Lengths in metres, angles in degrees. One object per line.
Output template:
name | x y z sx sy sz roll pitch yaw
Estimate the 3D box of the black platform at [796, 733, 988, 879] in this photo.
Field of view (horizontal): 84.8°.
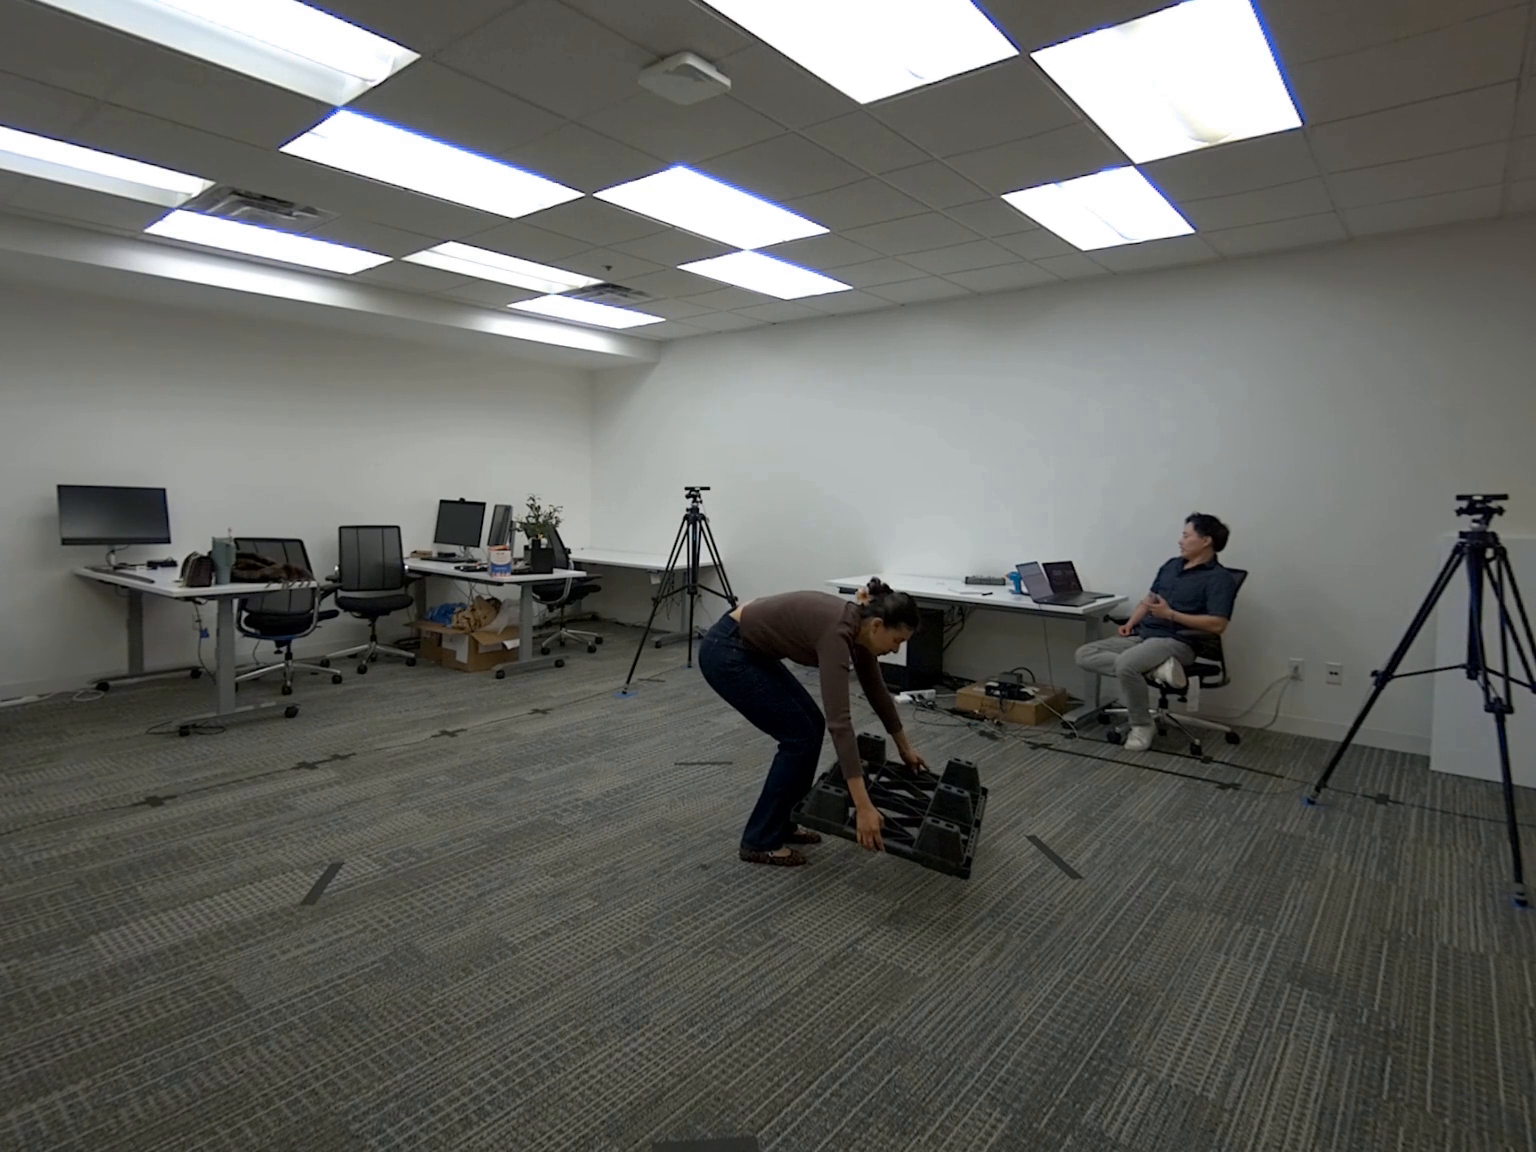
black platform | 0.484 0.799 3.116 0.619 0.142 0.792 11 9 19
